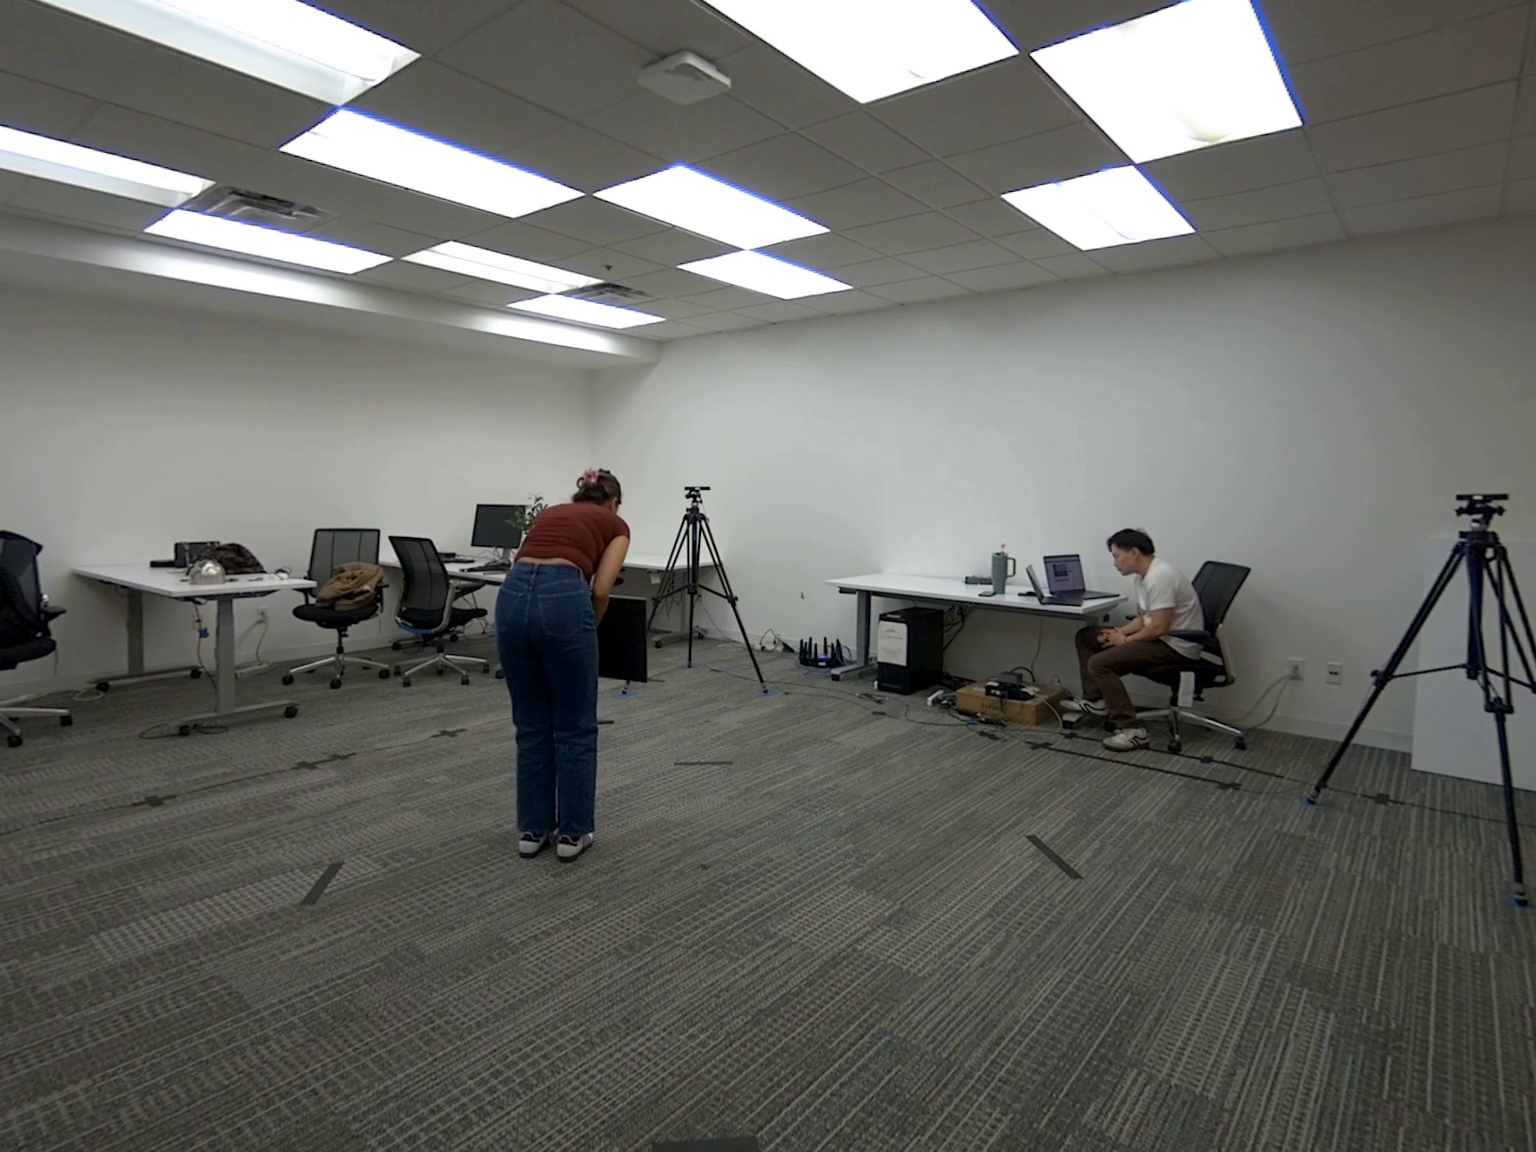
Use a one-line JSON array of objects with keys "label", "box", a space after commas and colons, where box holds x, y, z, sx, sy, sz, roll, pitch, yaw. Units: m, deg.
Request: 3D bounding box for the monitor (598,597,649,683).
[{"label": "monitor", "box": [-0.773, 0.333, 3.473, 0.548, 0.524, 0.183, 4, -4, 15]}]
